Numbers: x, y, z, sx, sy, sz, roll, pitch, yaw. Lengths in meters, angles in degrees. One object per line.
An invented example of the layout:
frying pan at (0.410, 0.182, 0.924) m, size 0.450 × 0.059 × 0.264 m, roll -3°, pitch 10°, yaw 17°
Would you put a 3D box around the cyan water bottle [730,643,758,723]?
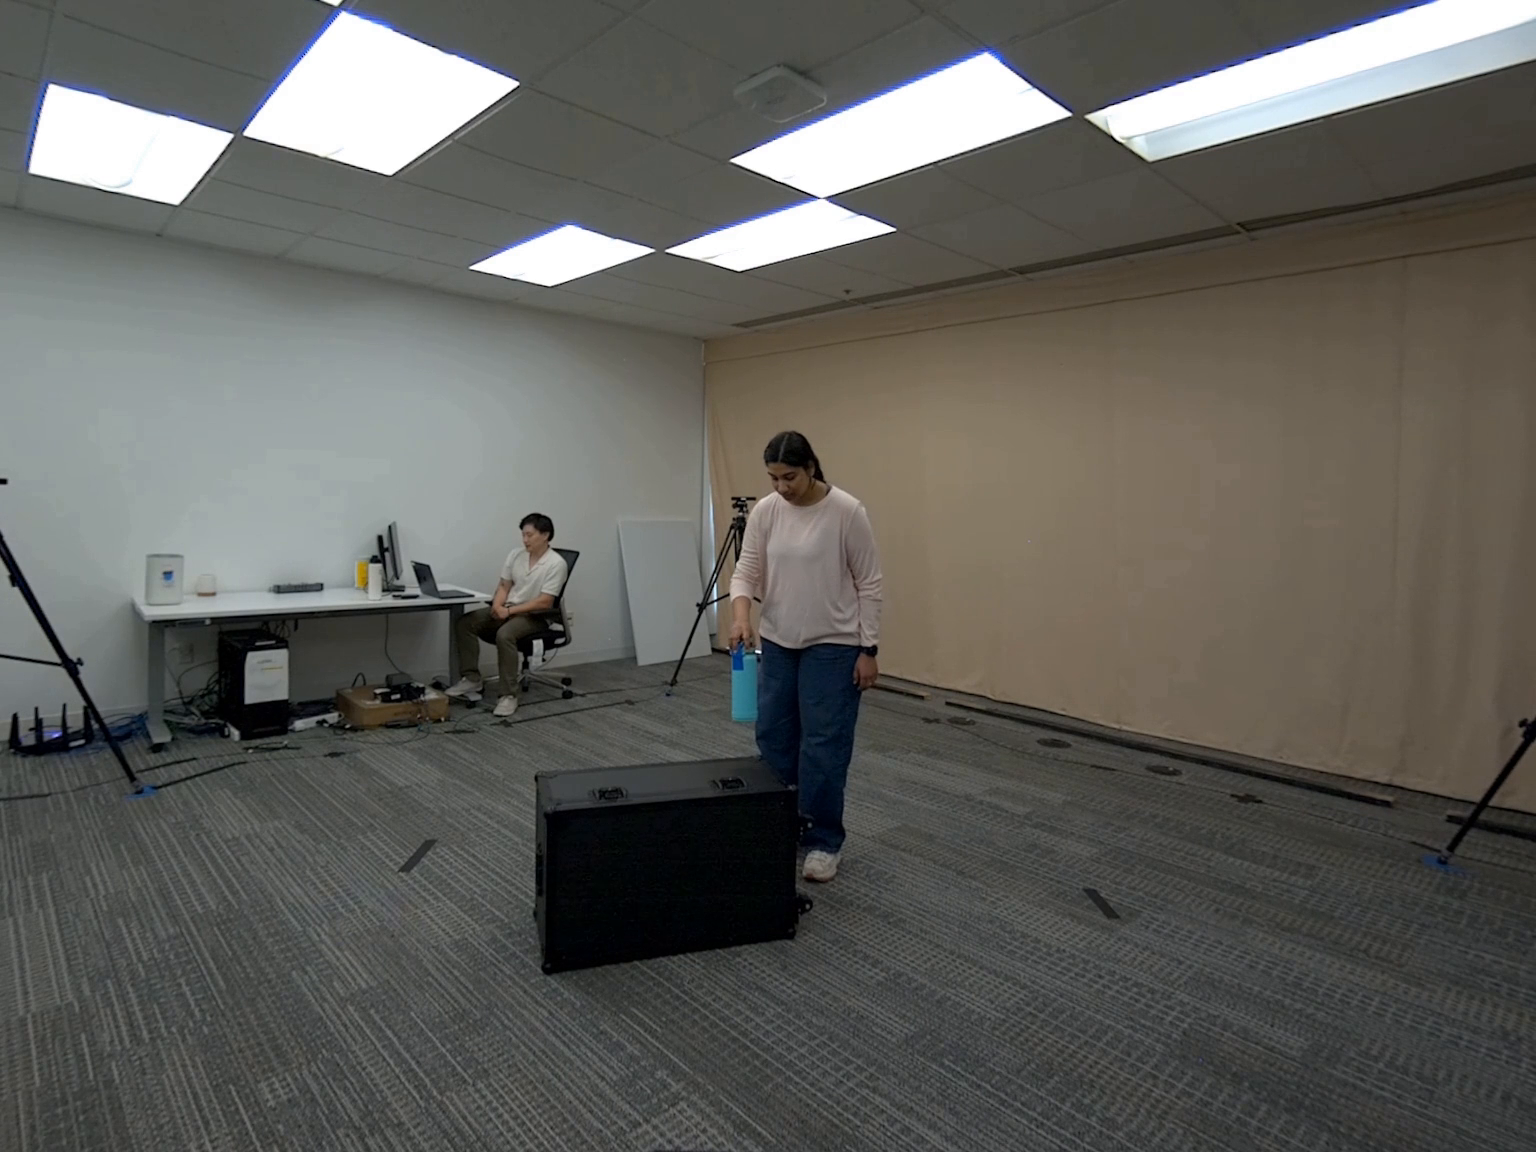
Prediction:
cyan water bottle at (-0.093, 0.361, 2.930) m, size 0.092 × 0.284 × 0.092 m, roll 0°, pitch -3°, yaw -1°
